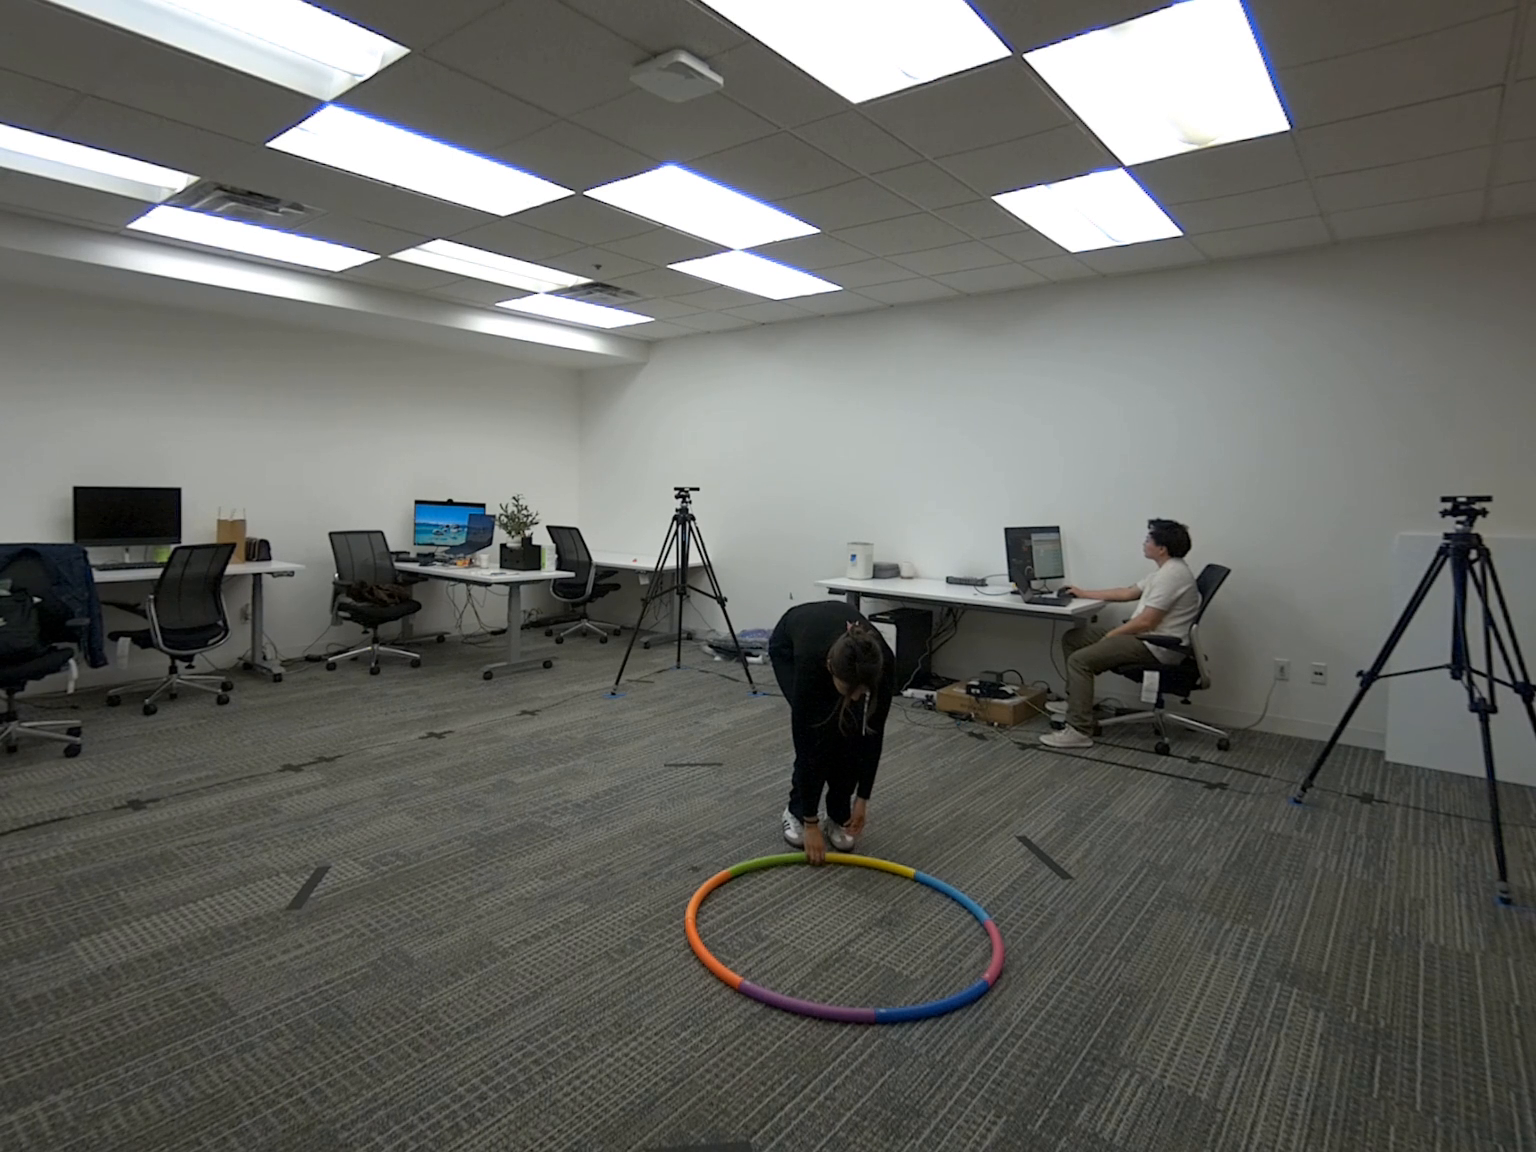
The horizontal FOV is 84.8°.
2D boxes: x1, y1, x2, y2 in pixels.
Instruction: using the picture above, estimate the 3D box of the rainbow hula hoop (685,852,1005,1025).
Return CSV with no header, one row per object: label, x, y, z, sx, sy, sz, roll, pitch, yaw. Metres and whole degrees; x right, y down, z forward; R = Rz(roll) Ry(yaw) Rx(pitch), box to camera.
rainbow hula hoop,0.221,1.078,2.703,0.978,0.035,0.985,1,7,-2
